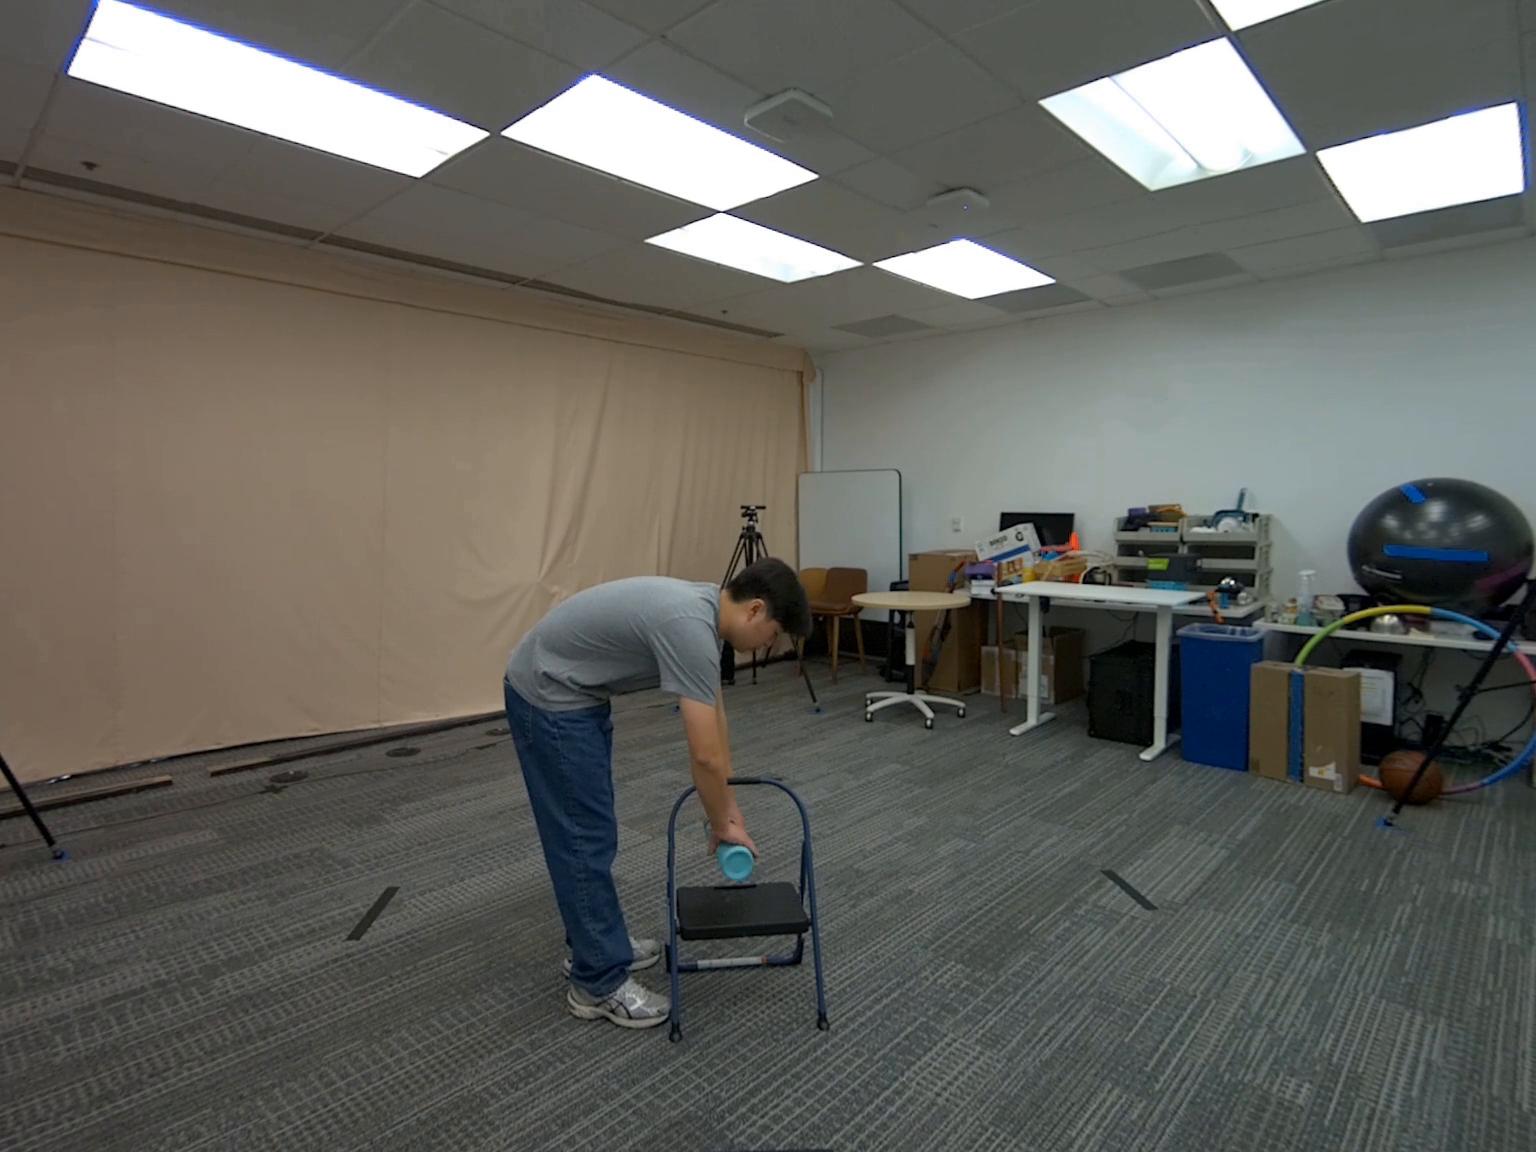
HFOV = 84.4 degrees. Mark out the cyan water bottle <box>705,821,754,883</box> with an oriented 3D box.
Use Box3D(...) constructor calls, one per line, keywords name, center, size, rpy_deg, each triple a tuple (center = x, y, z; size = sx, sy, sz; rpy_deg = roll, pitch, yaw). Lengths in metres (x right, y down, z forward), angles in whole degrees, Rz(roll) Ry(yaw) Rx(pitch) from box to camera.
Box3D(name="cyan water bottle", center=(-0.117, 0.780, 2.369), size=(0.091, 0.092, 0.289), rpy_deg=(-1, 10, -15))
